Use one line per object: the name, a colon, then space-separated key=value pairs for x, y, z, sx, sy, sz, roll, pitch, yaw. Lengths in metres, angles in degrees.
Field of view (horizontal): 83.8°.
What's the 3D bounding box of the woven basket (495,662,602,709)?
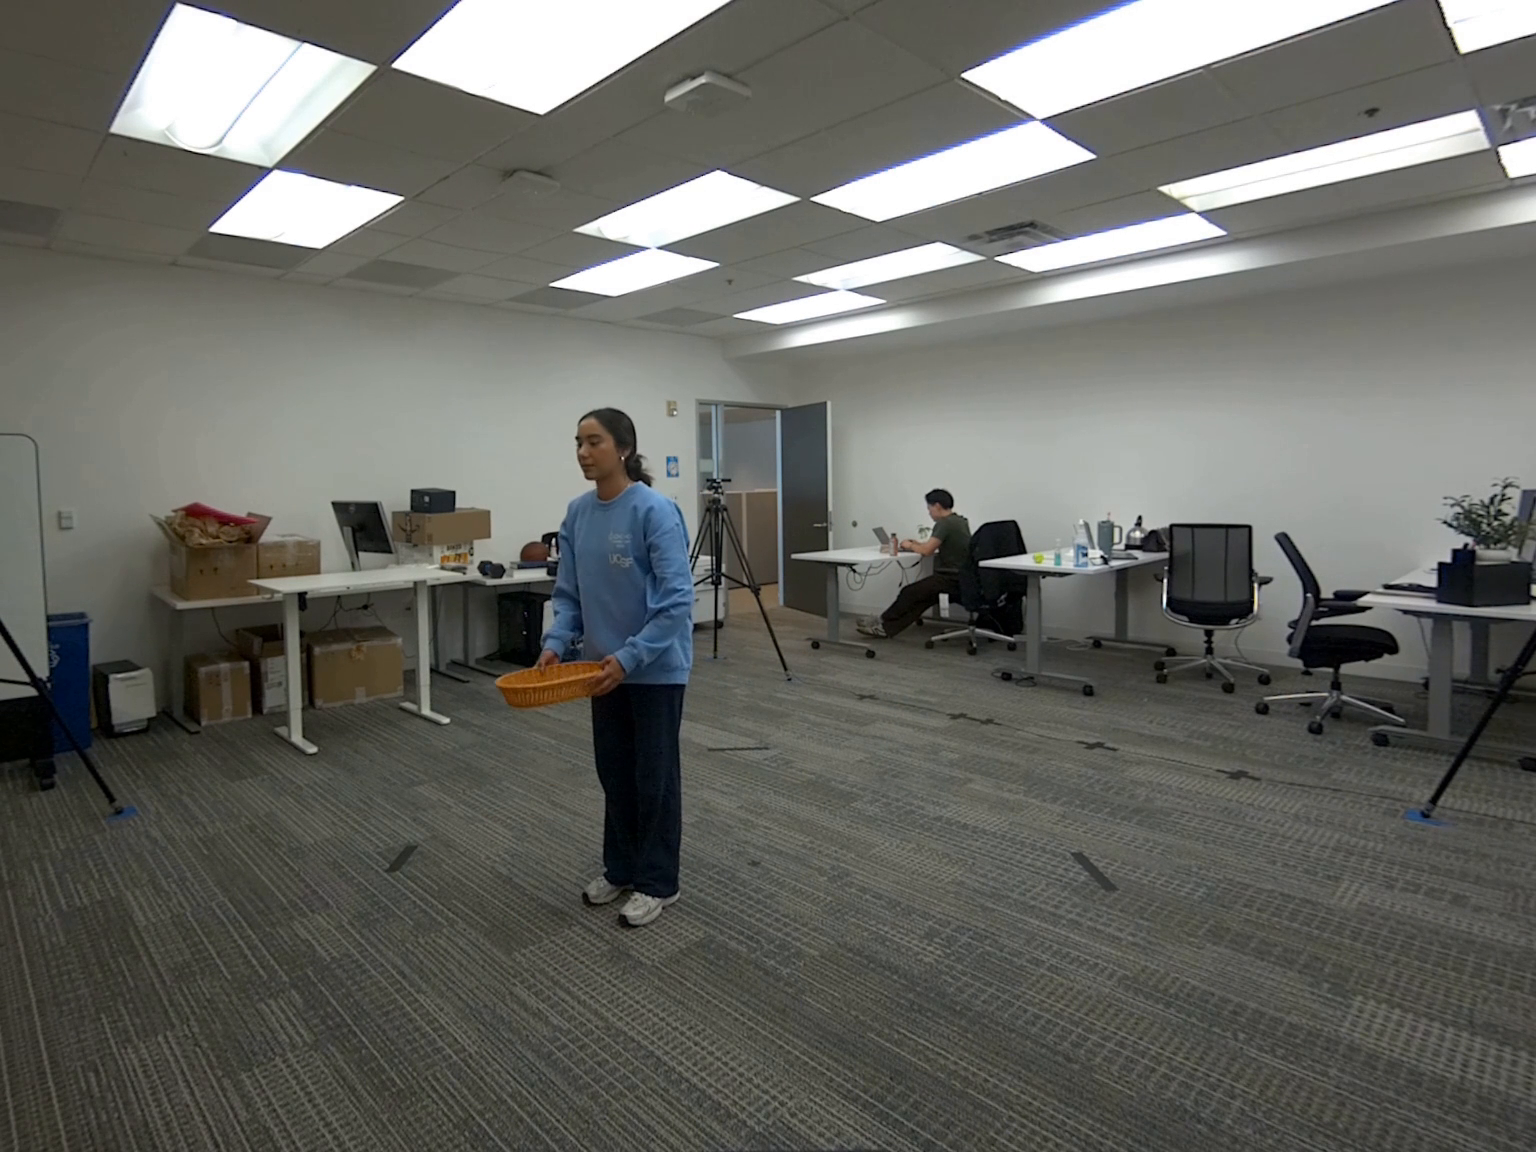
woven basket: x=-0.658 y=0.335 z=2.562 sx=0.343 sy=0.073 sz=0.258 roll=-8 pitch=7 yaw=-26
